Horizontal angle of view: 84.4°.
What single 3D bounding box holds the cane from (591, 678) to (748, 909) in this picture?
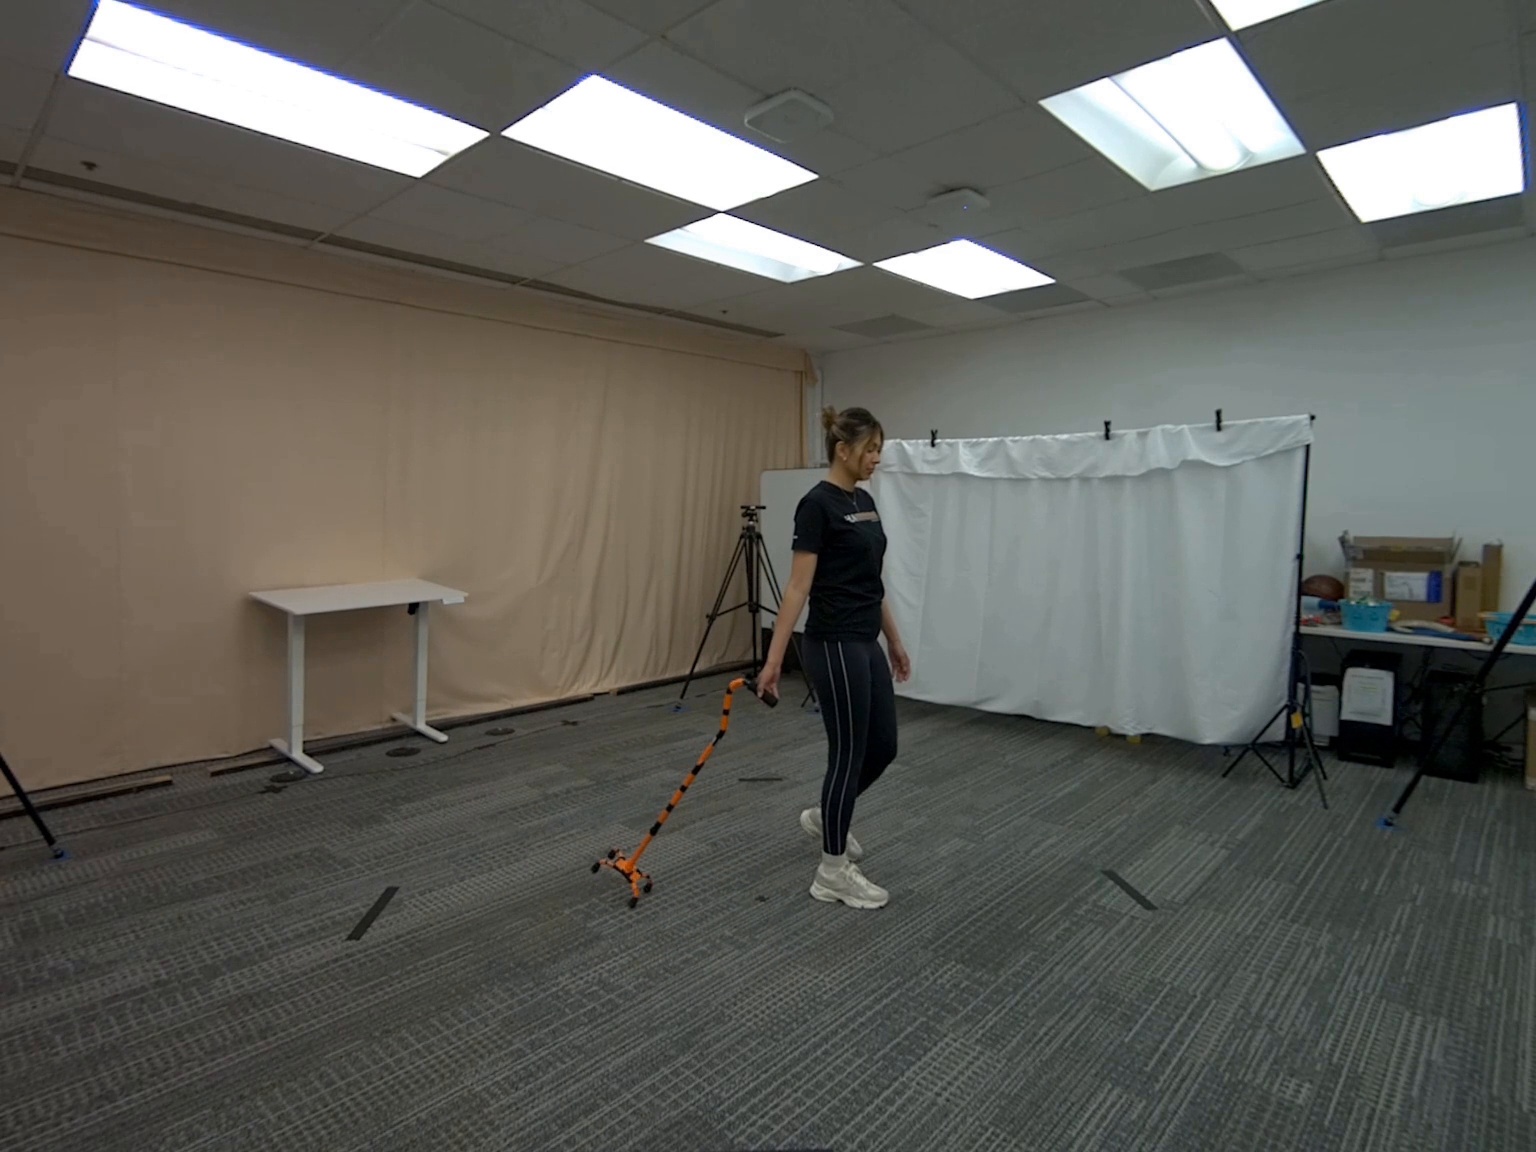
[{"bbox_3d":[-0.286,0.727,2.909,0.210,0.908,0.149,36,12,11],"label":"cane"}]
